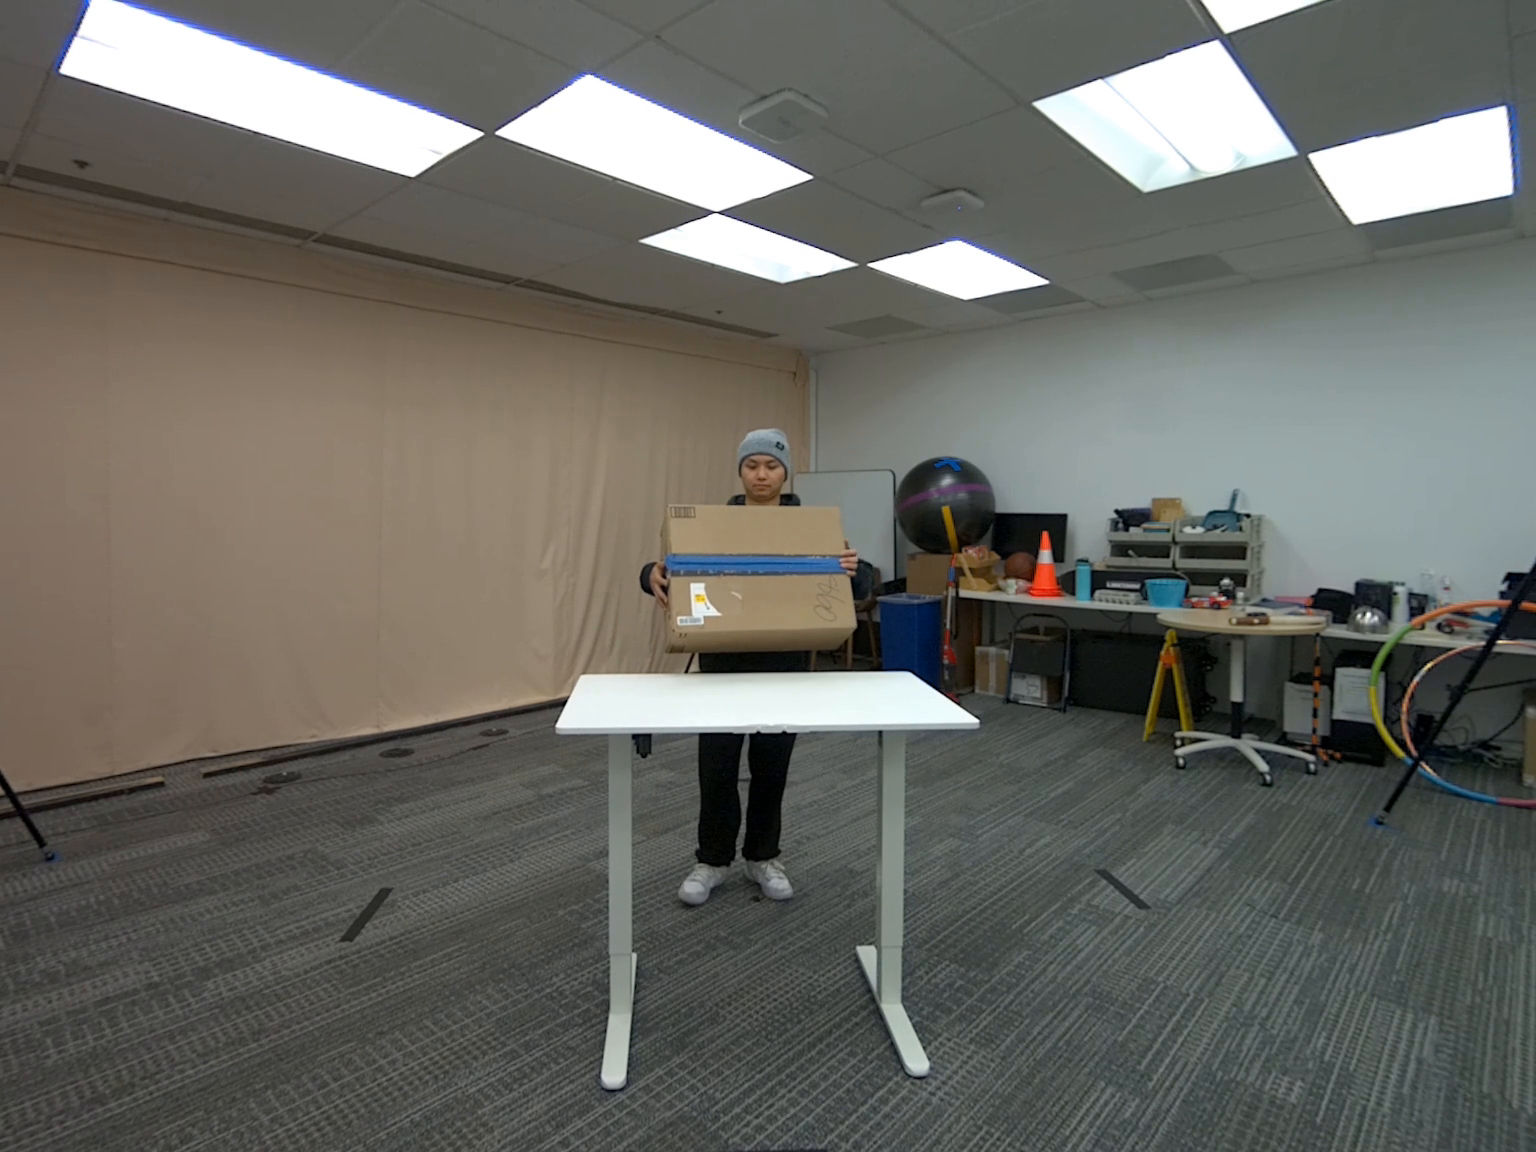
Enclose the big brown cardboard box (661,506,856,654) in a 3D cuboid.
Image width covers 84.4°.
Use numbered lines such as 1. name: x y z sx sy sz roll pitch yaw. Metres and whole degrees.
1. big brown cardboard box: -0.050 0.016 2.677 0.582 0.424 0.232 -1 -24 -11
